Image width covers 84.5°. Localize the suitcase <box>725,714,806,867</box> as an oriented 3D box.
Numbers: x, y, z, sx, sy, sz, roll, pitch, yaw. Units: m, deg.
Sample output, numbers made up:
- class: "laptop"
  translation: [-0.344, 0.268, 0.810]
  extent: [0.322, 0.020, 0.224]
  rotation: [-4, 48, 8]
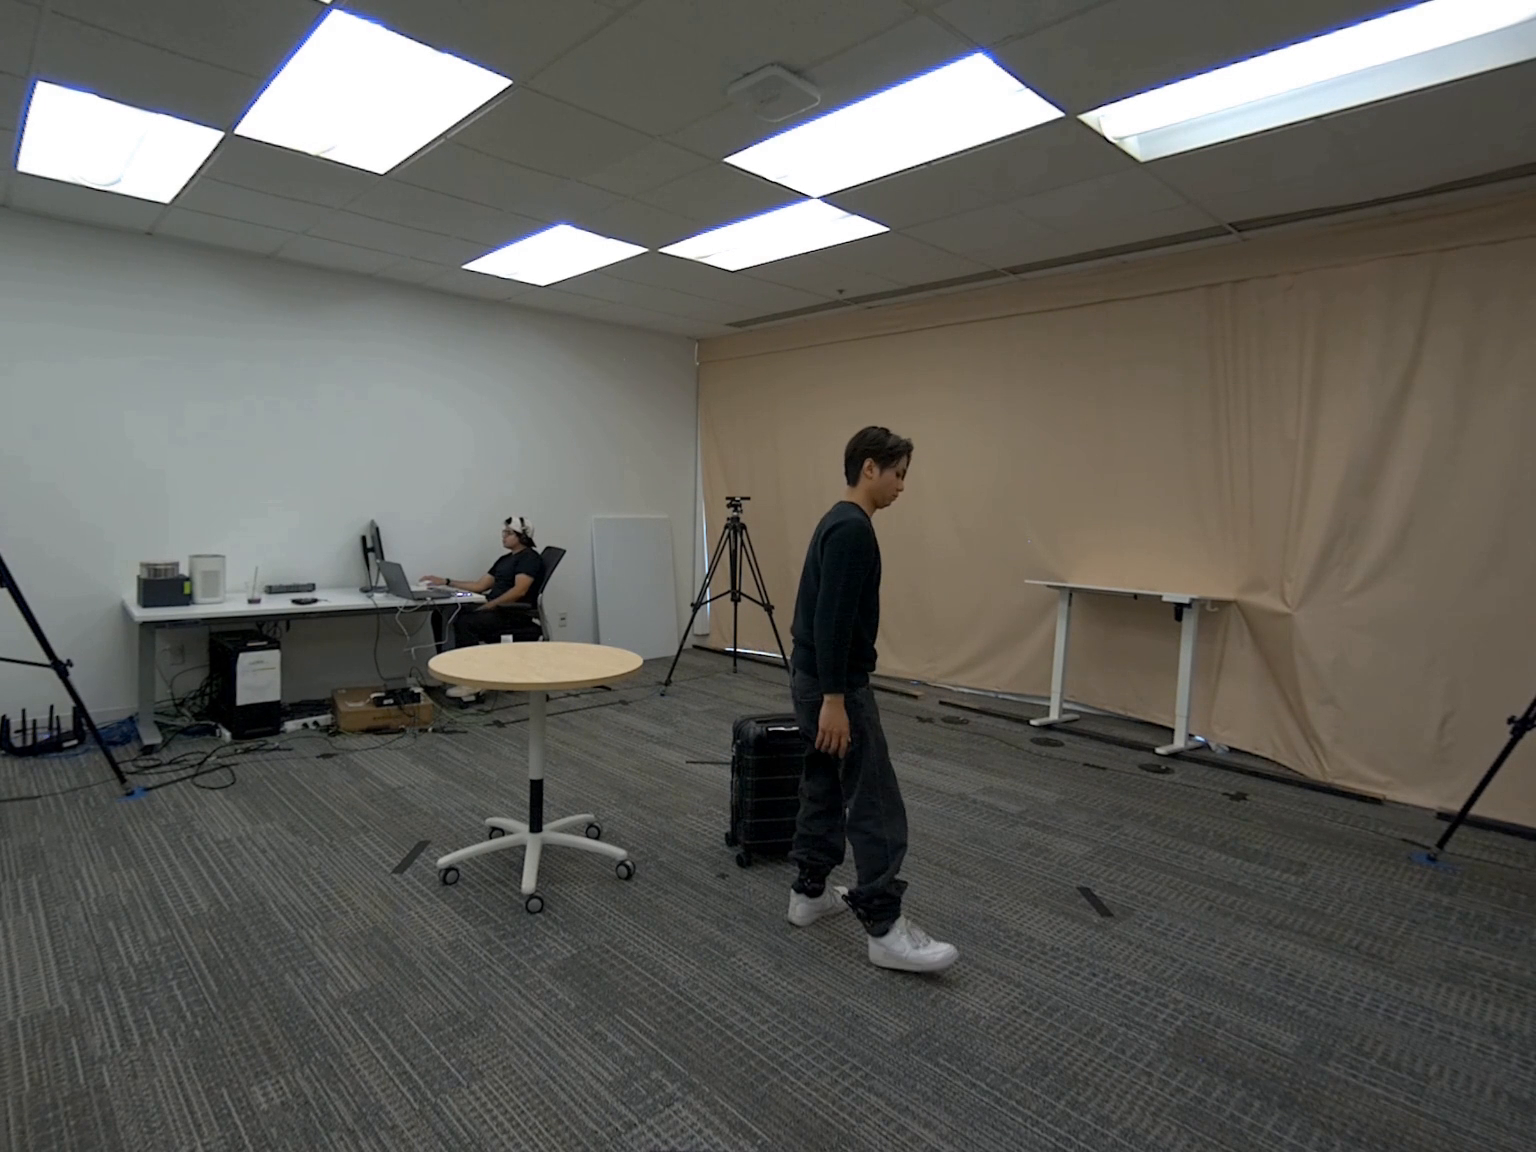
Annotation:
- class: "suitcase"
  translation: [0.032, 0.814, 3.292]
  extent: [0.371, 0.547, 0.252]
  rotation: [1, 4, -13]
